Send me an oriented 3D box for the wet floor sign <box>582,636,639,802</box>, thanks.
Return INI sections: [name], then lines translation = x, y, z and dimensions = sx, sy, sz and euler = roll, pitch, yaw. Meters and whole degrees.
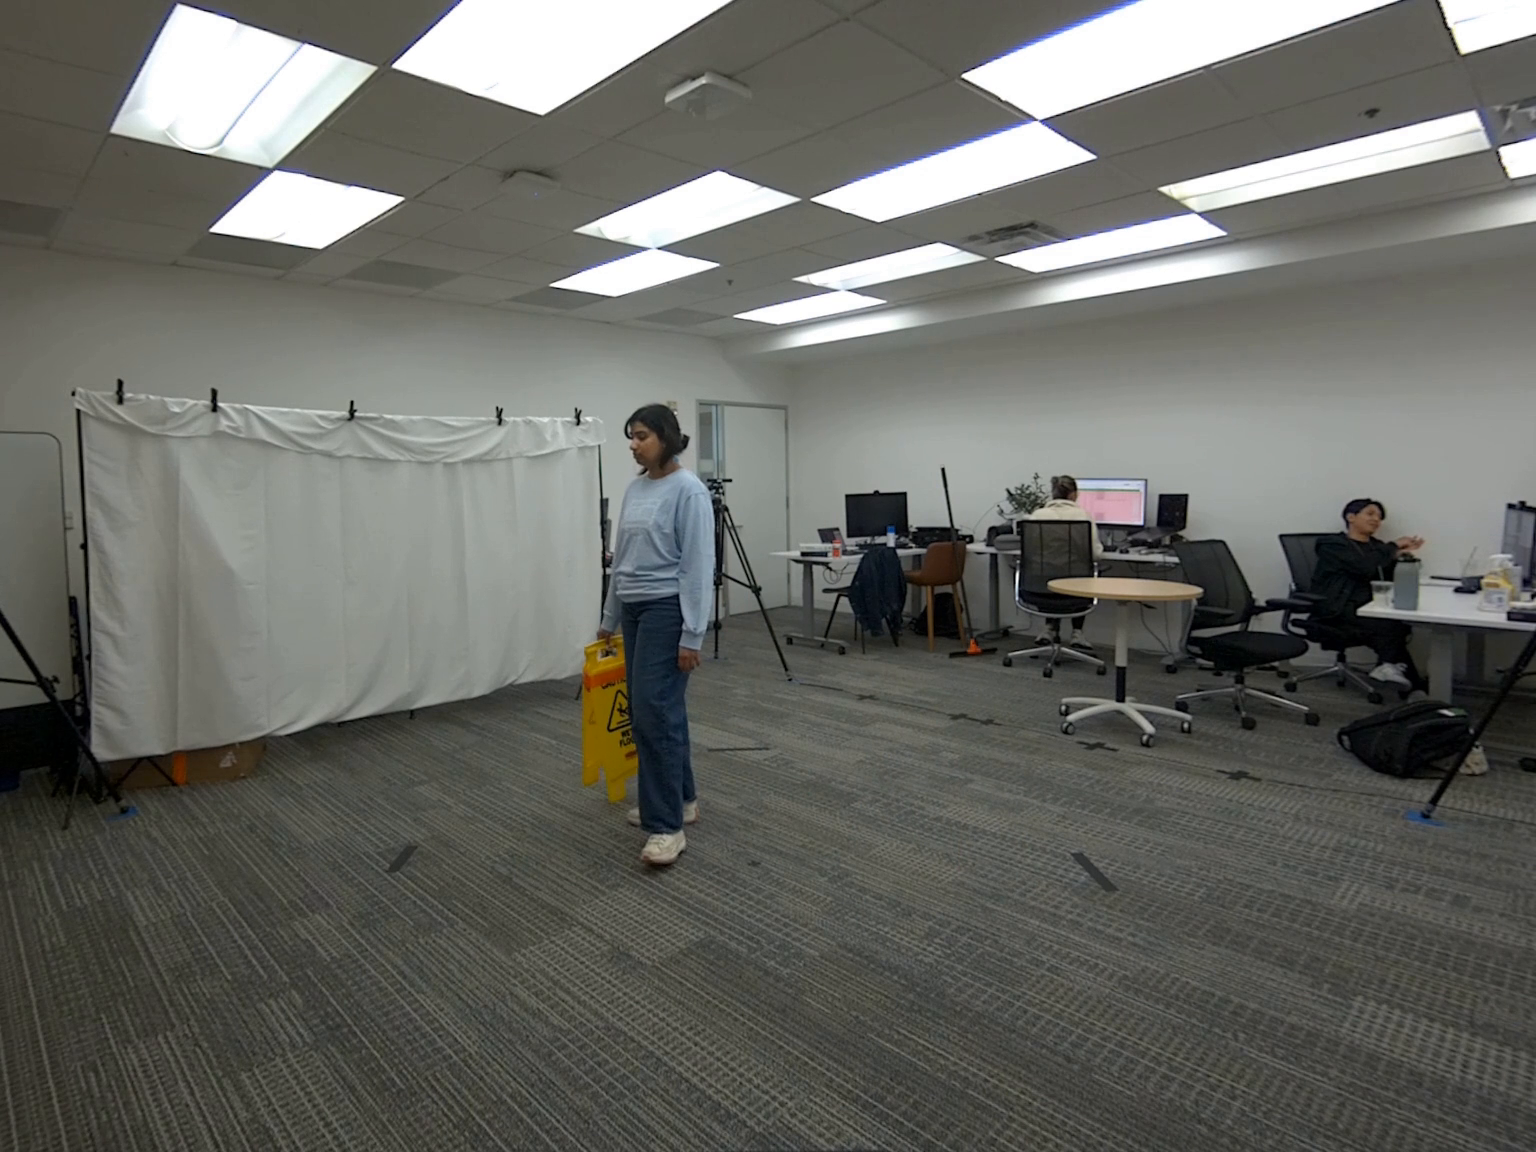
[wet floor sign]
translation = -0.663, 0.591, 3.682
dimensions = 0.276, 0.641, 0.298
euler = -12, 10, -38
